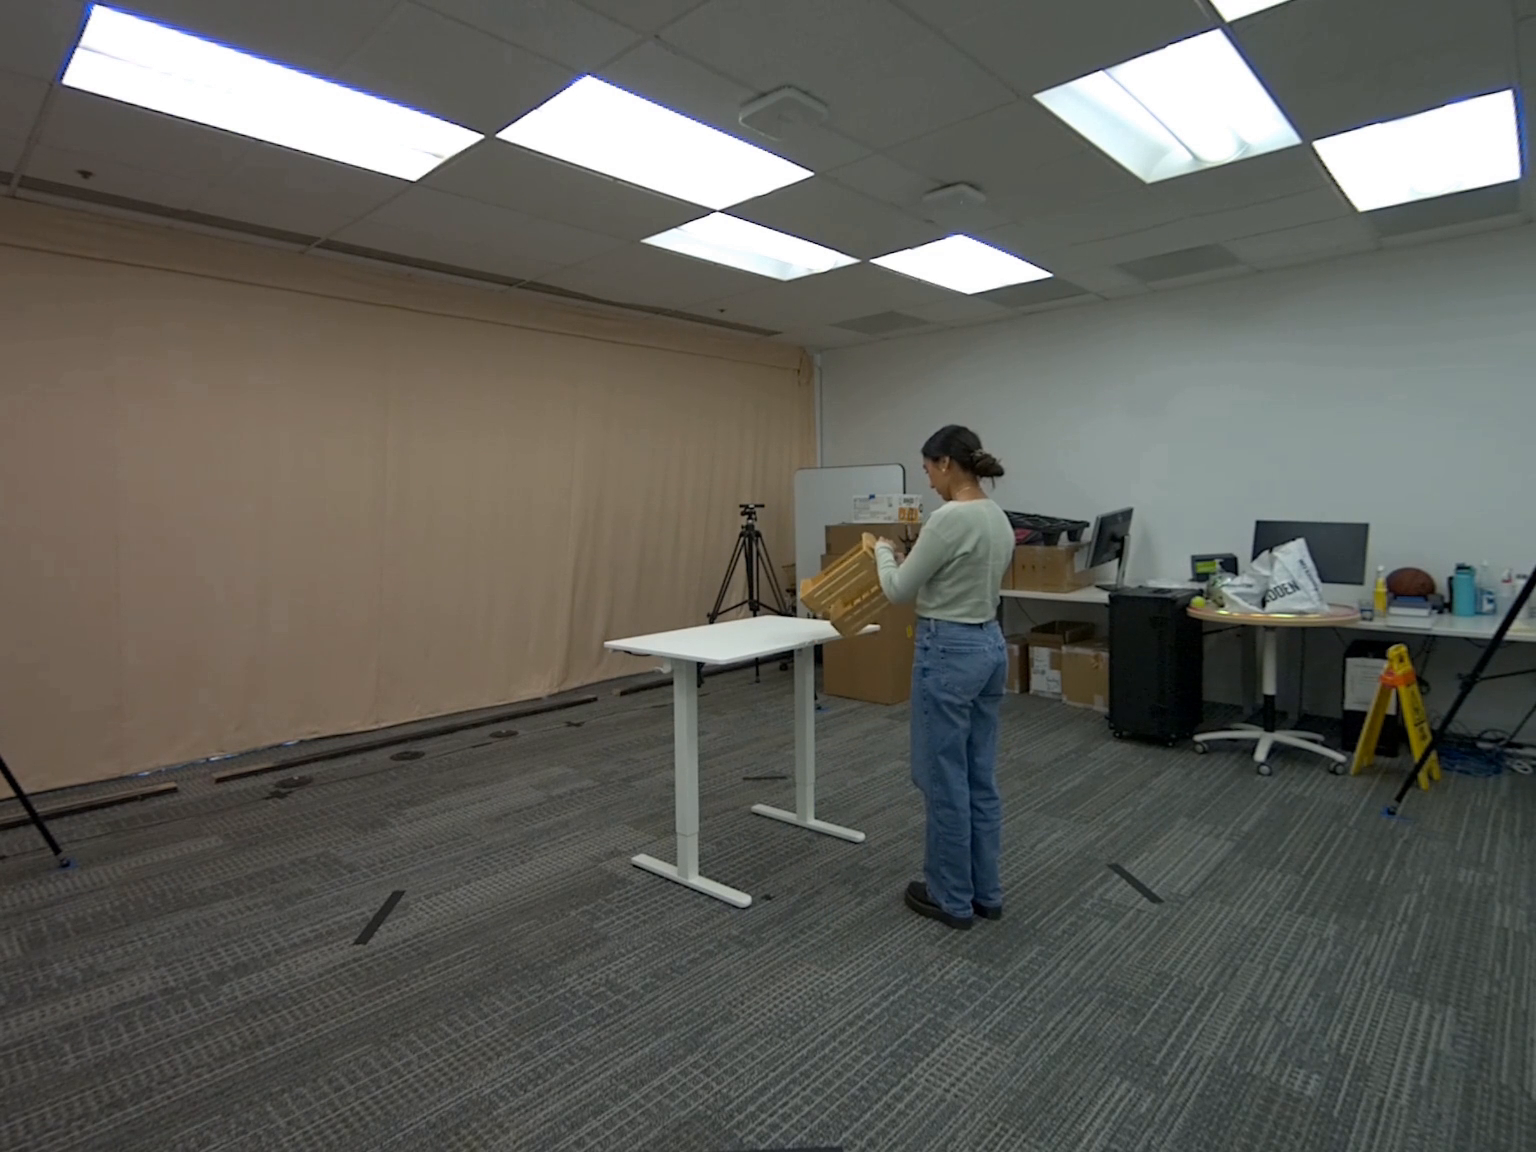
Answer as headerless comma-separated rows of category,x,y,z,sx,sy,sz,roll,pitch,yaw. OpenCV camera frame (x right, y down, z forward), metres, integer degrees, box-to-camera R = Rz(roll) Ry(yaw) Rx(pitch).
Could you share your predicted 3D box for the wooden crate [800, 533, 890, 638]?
wooden crate,0.325,0.018,3.092,0.327,0.269,0.304,-39,16,21
